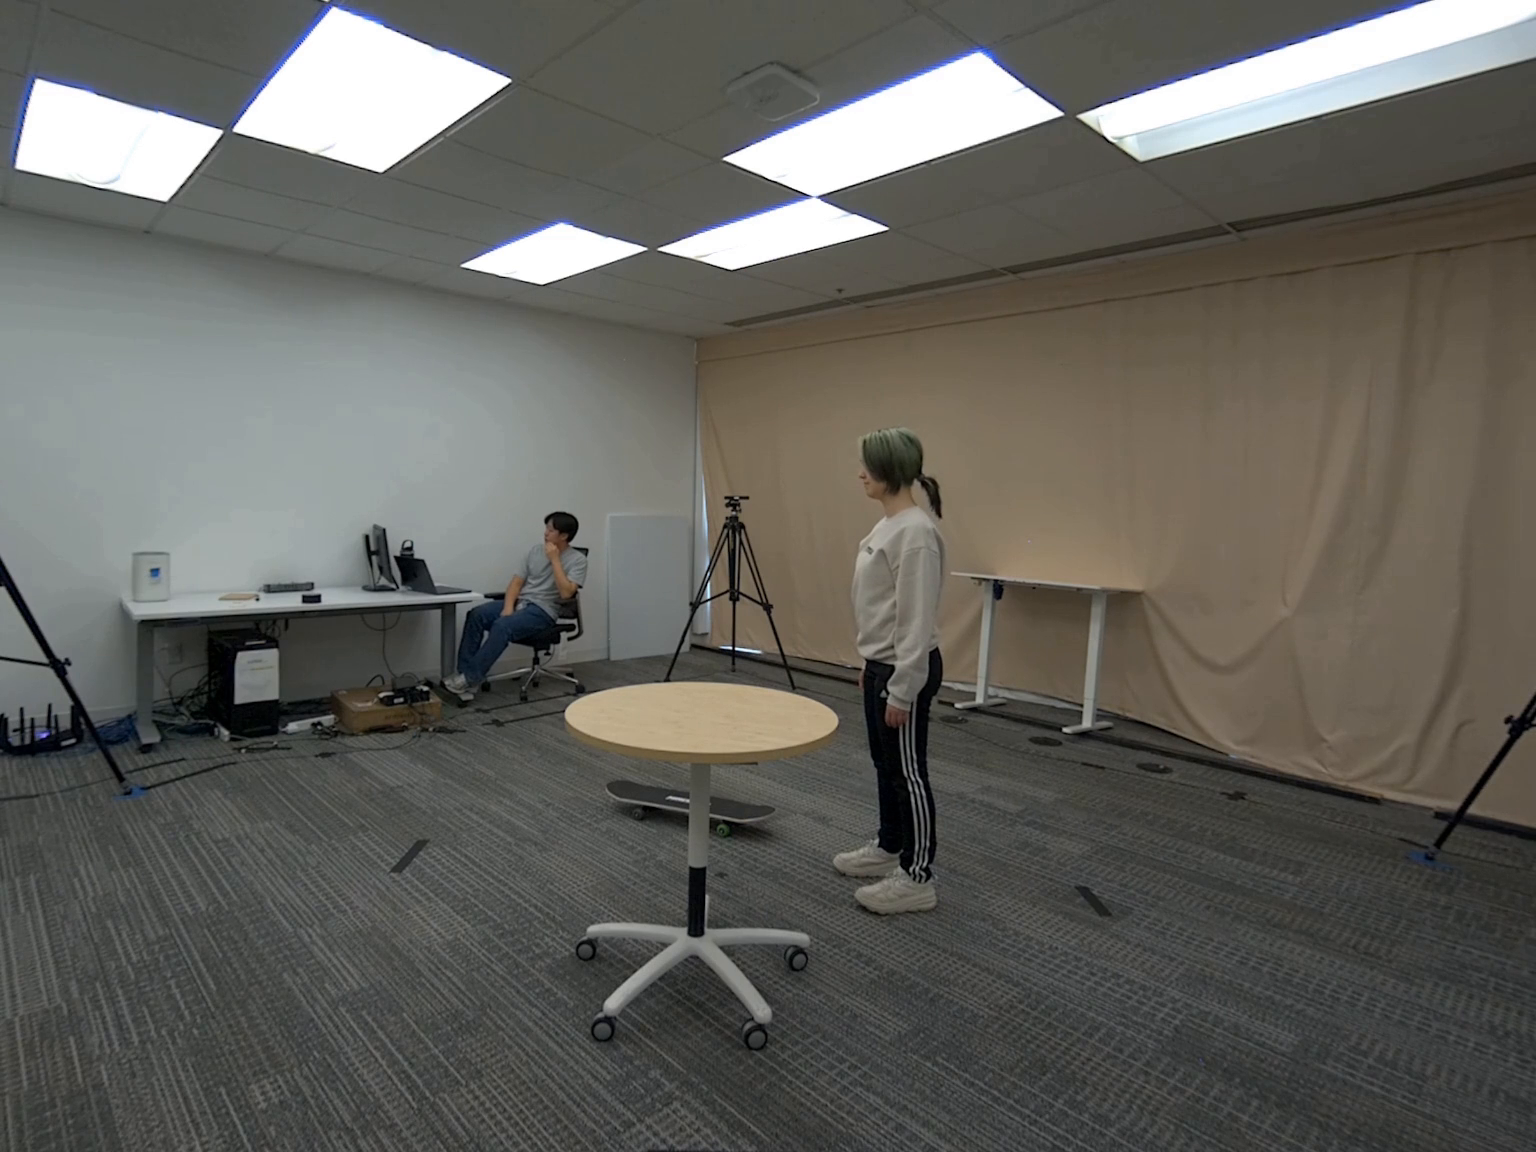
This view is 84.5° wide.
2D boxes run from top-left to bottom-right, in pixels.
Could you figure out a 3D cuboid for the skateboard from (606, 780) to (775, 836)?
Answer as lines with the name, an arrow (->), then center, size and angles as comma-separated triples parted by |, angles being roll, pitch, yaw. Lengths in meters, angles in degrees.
skateboard -> -0.353, 0.994, 3.611 | 0.800, 0.110, 0.190 | 4, 5, 23
